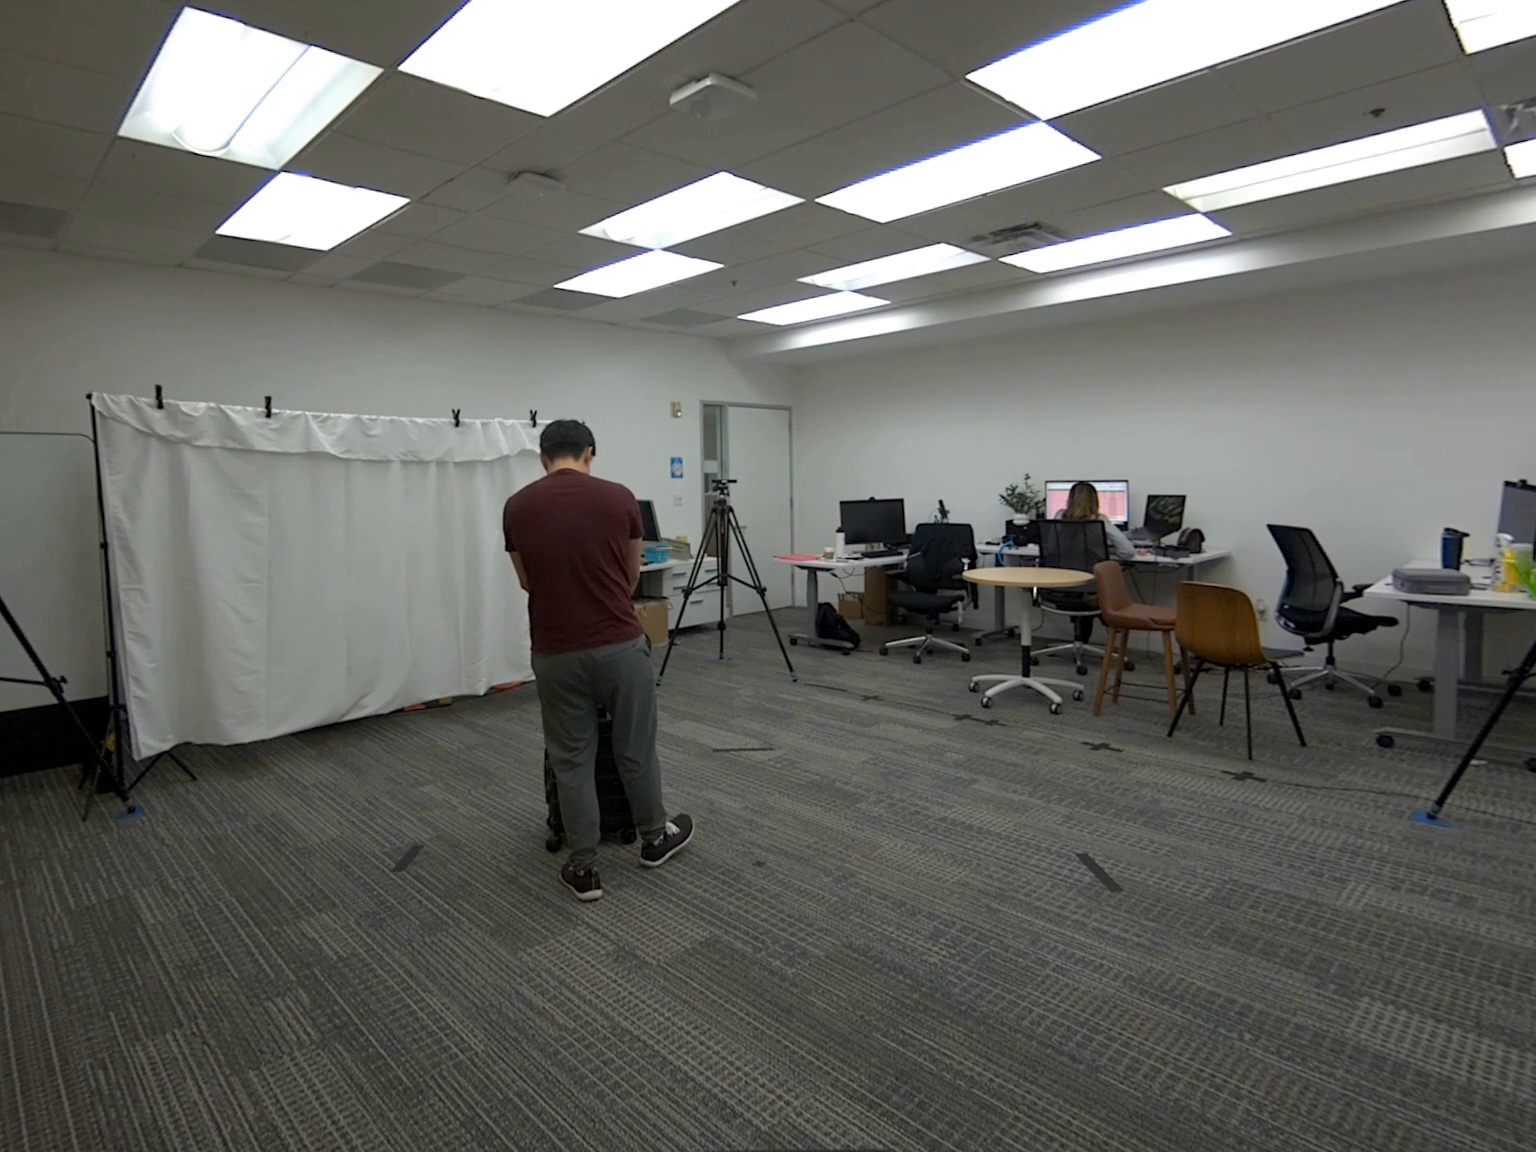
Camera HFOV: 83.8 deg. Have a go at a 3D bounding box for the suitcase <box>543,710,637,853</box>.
[{"bbox_3d":[-0.698,0.553,3.403,0.381,0.980,0.259,0,-1,-8],"label":"suitcase"}]
